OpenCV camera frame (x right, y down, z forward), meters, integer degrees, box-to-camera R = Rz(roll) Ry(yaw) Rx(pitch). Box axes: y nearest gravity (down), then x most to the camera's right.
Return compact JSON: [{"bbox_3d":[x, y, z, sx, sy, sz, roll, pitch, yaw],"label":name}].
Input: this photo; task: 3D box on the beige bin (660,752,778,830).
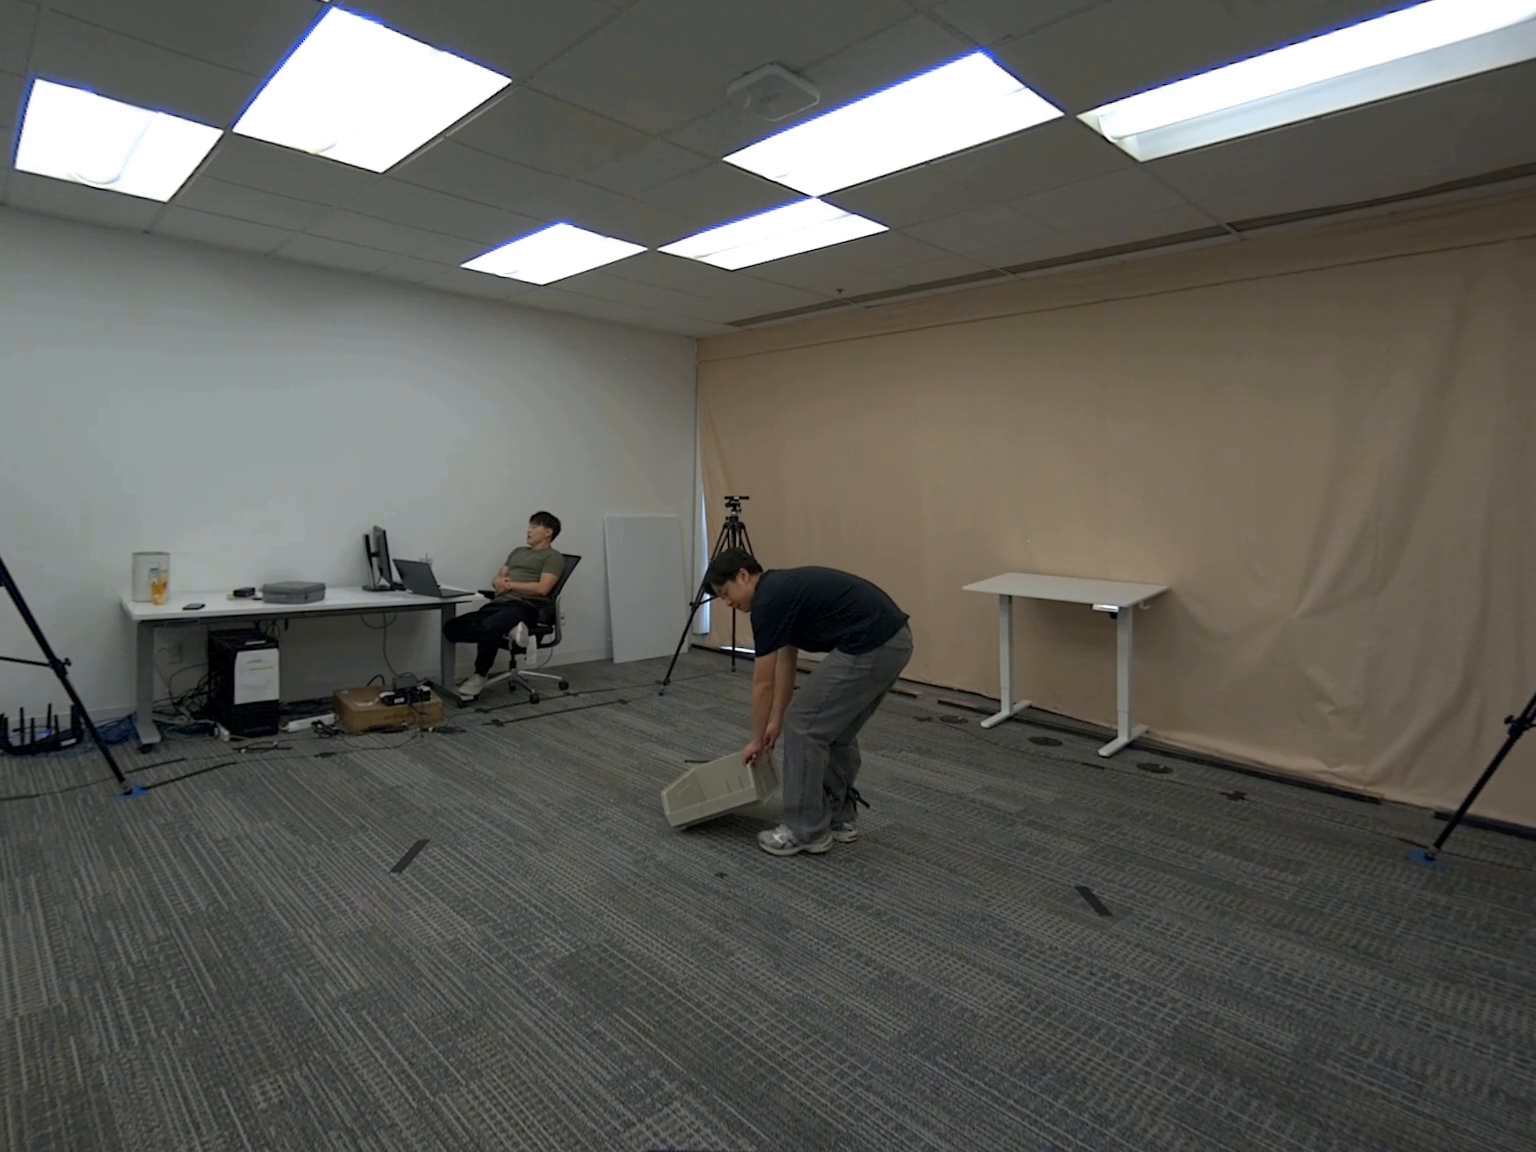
[{"bbox_3d":[-0.193,0.898,3.569,0.426,0.190,0.372,-22,-4,18],"label":"beige bin"}]
